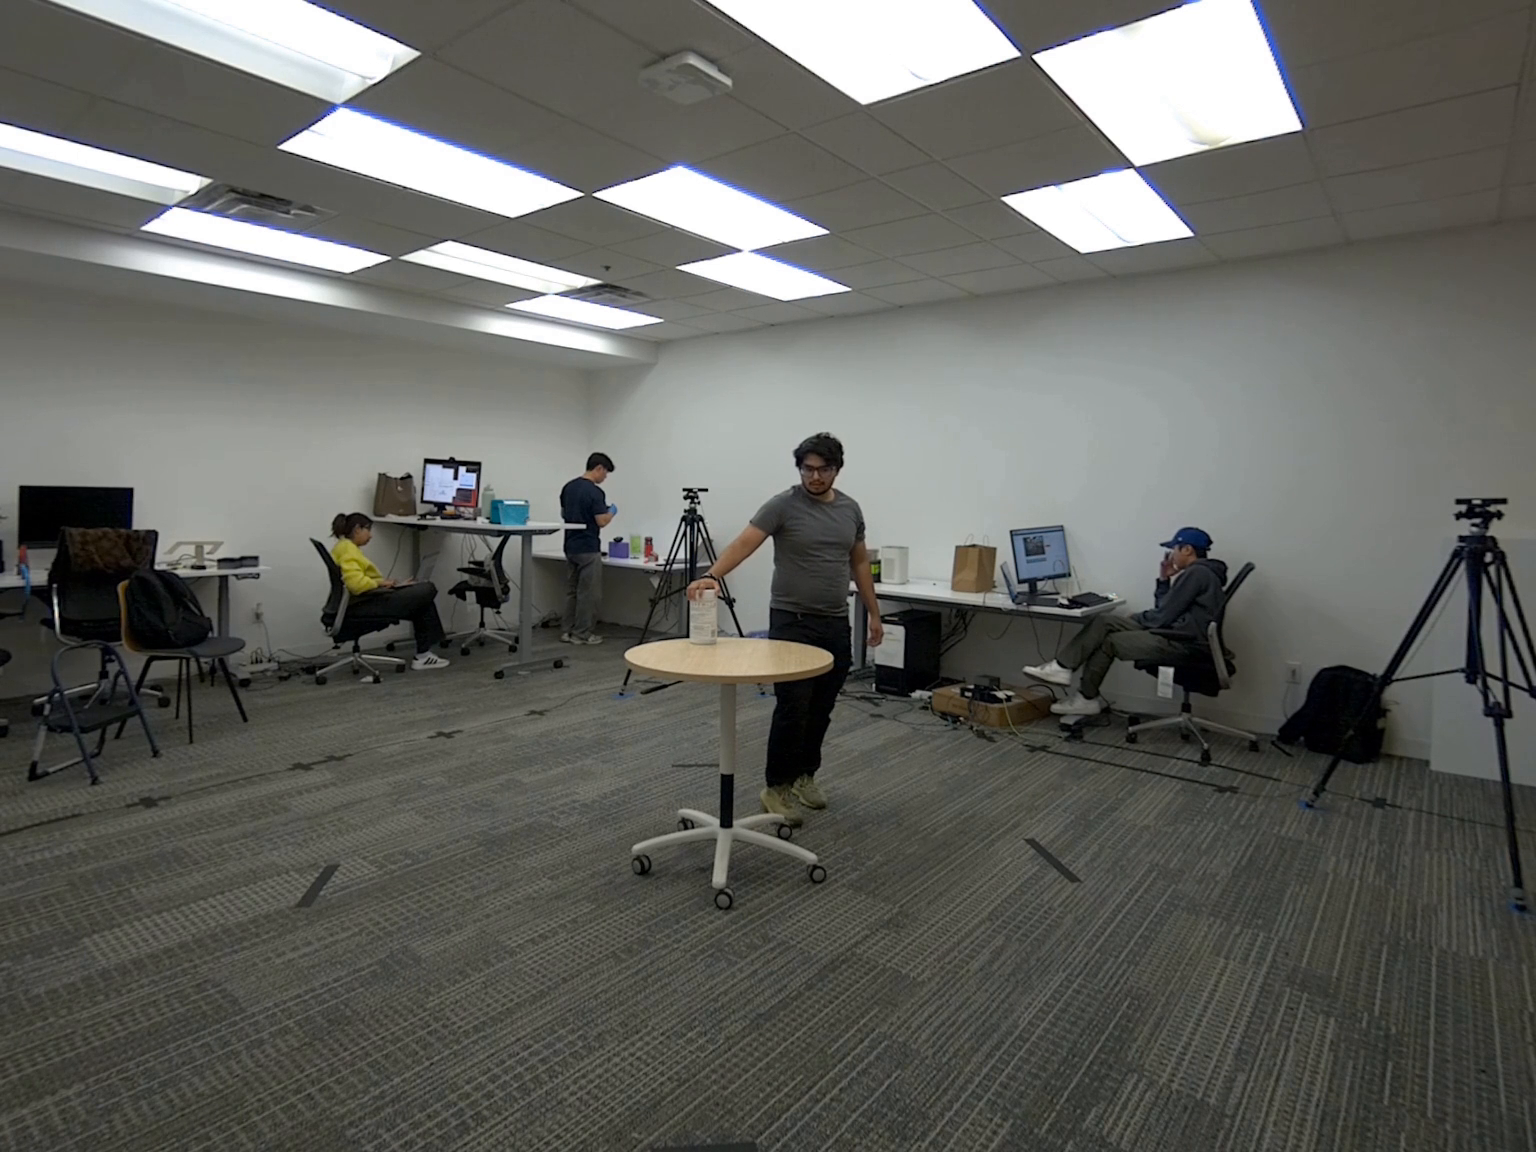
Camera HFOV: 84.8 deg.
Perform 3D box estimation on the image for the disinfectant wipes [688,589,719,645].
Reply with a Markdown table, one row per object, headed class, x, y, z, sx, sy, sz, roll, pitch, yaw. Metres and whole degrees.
| class | x | y | z | sx | sy | sz | roll | pitch | yaw |
| --- | --- | --- | --- | --- | --- | --- | --- | --- | --- |
| disinfectant wipes | -0.262 | 0.159 | 3.378 | 0.118 | 0.218 | 0.117 | 1 | -2 | -2 |
